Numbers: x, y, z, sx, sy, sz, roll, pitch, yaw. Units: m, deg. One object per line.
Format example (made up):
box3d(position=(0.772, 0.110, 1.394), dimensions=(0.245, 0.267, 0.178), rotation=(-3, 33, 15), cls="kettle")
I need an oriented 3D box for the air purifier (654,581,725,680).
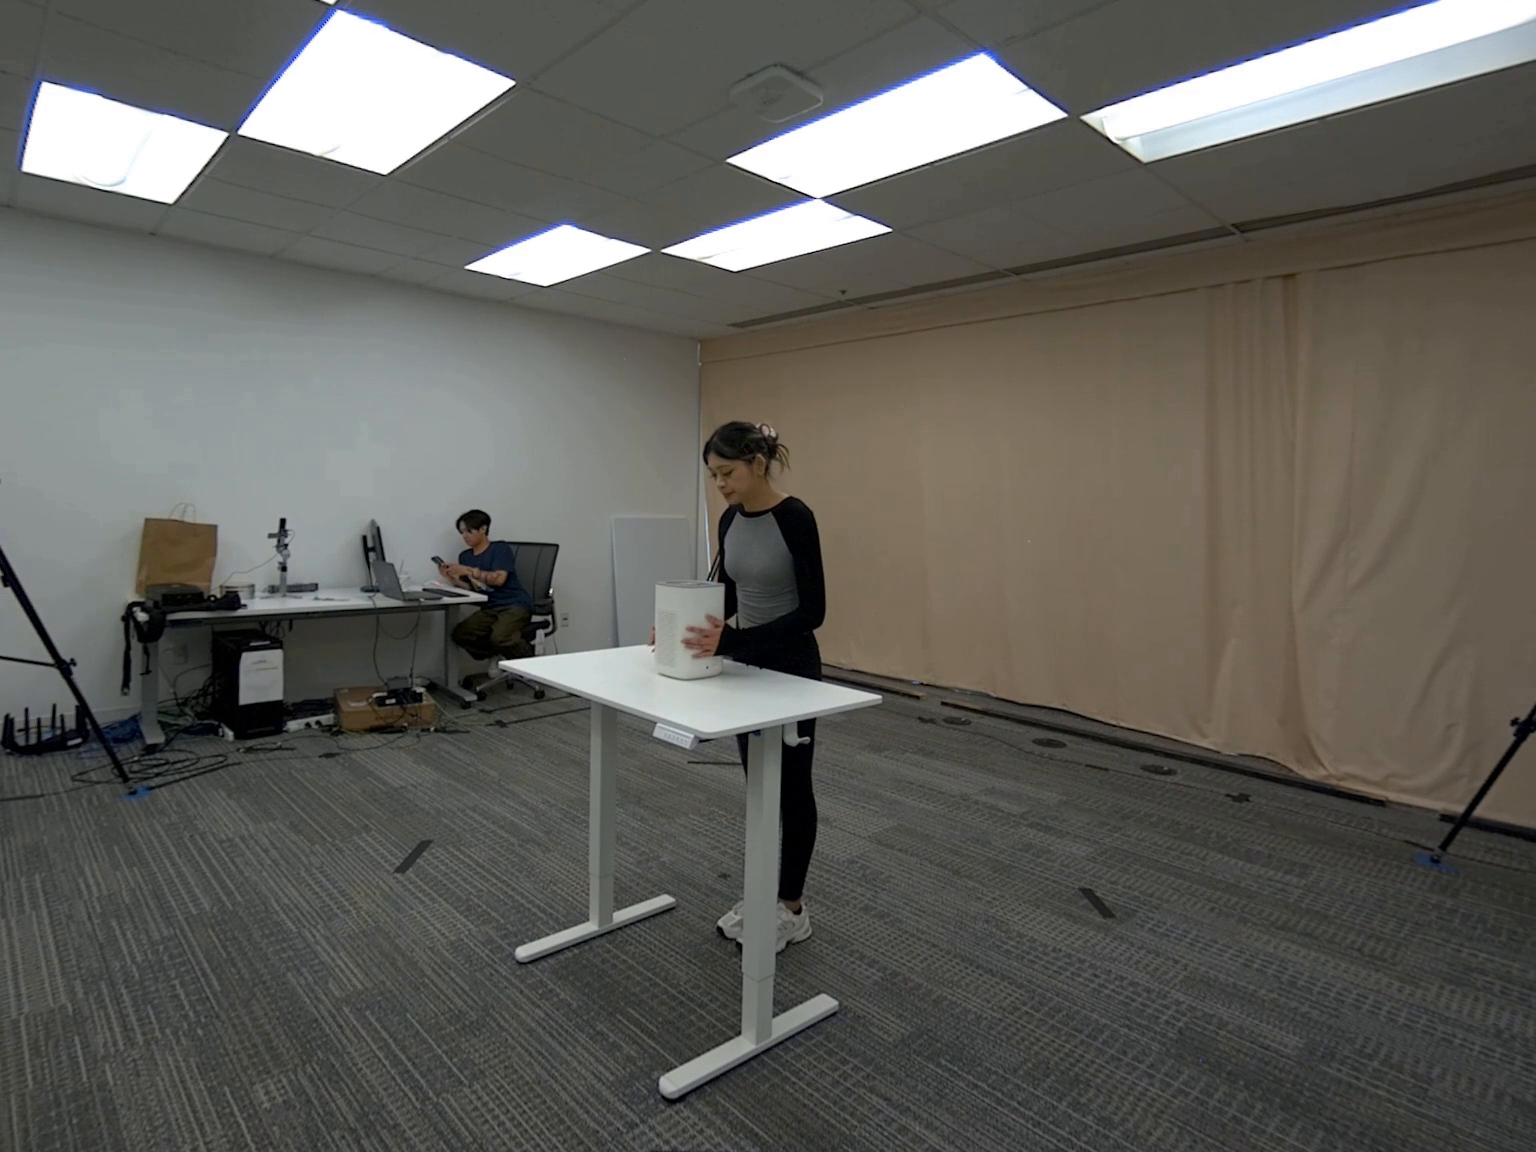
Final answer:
box3d(position=(-0.239, 0.156, 2.417), dimensions=(0.167, 0.265, 0.176), rotation=(-1, 3, -43), cls="air purifier")
